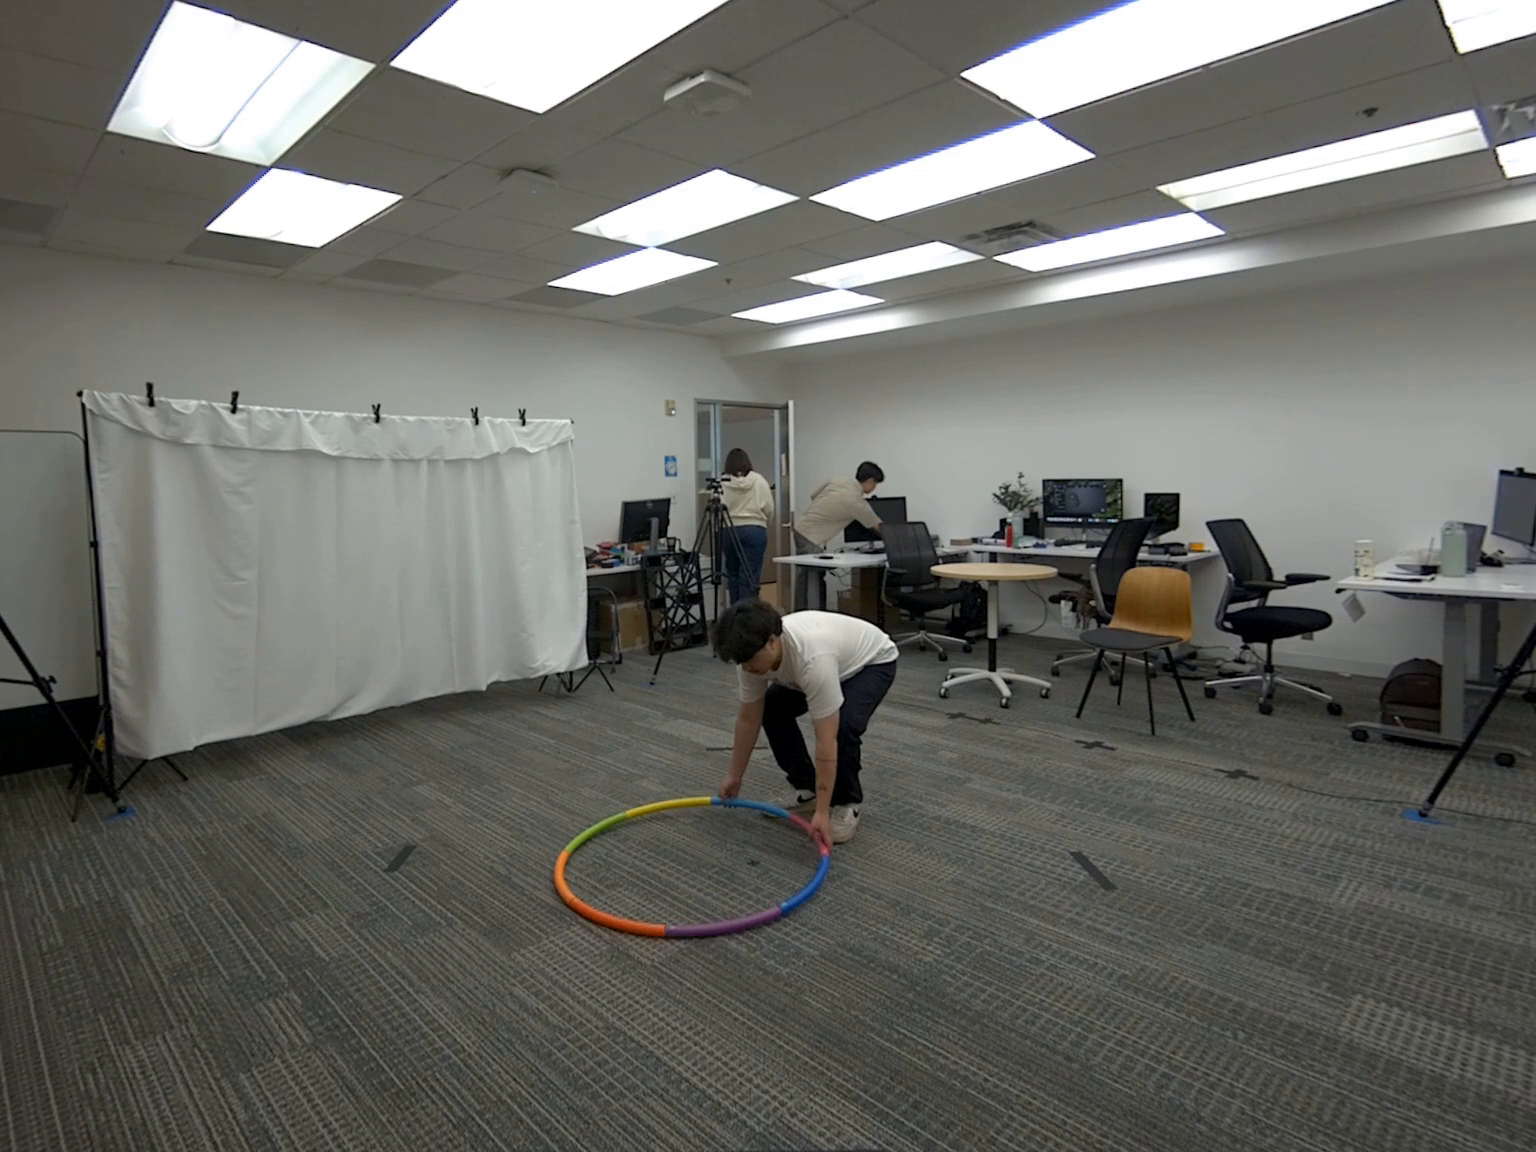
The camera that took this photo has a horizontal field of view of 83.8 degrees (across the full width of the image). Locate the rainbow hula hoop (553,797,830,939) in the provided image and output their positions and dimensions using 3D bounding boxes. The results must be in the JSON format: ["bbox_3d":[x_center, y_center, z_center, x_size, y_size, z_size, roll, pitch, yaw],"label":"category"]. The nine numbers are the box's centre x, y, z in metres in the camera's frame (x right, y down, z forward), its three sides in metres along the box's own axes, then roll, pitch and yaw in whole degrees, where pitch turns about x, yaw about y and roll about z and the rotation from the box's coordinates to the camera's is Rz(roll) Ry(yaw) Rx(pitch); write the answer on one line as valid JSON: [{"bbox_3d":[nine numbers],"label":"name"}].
[{"bbox_3d":[-0.282,1.008,3.083,0.985,0.051,0.992,-2,8,-1],"label":"rainbow hula hoop"}]
